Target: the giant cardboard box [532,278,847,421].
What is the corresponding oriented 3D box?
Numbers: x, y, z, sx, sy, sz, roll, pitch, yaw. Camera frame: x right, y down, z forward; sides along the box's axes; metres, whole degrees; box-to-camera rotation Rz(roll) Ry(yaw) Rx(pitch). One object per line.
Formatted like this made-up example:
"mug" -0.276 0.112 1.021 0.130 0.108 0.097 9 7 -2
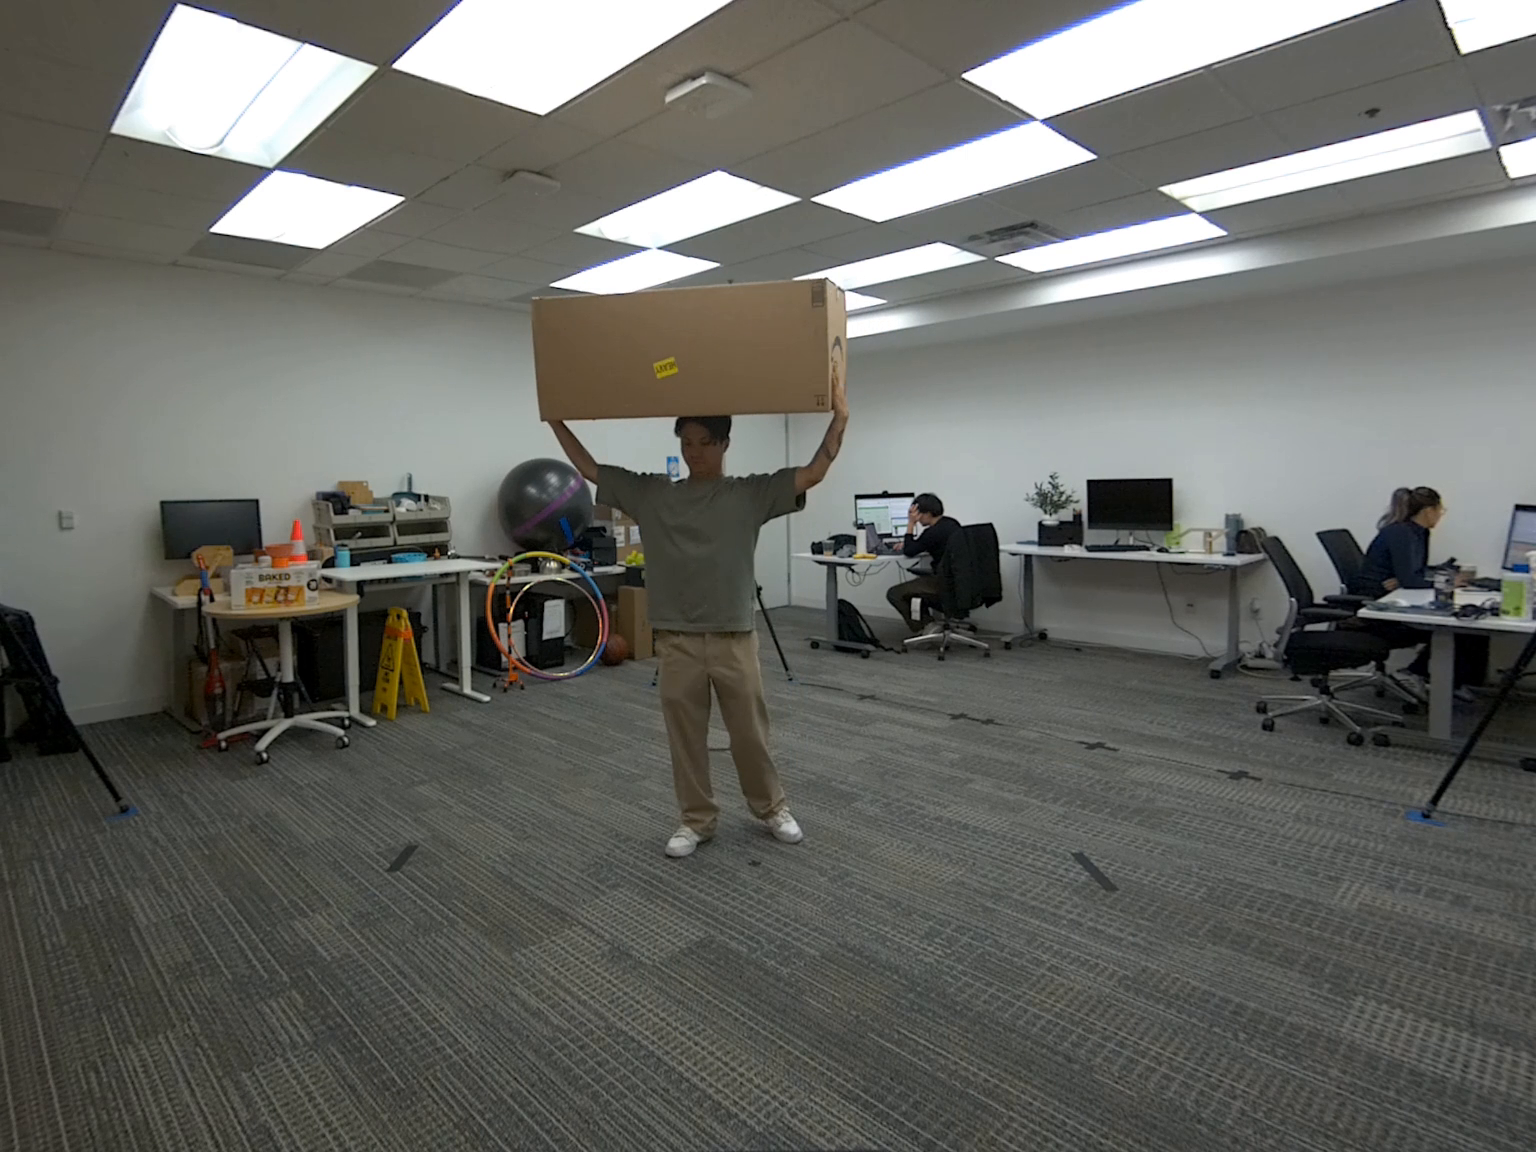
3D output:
"giant cardboard box" -0.246 -0.808 3.107 1.040 0.421 0.576 1 13 14
